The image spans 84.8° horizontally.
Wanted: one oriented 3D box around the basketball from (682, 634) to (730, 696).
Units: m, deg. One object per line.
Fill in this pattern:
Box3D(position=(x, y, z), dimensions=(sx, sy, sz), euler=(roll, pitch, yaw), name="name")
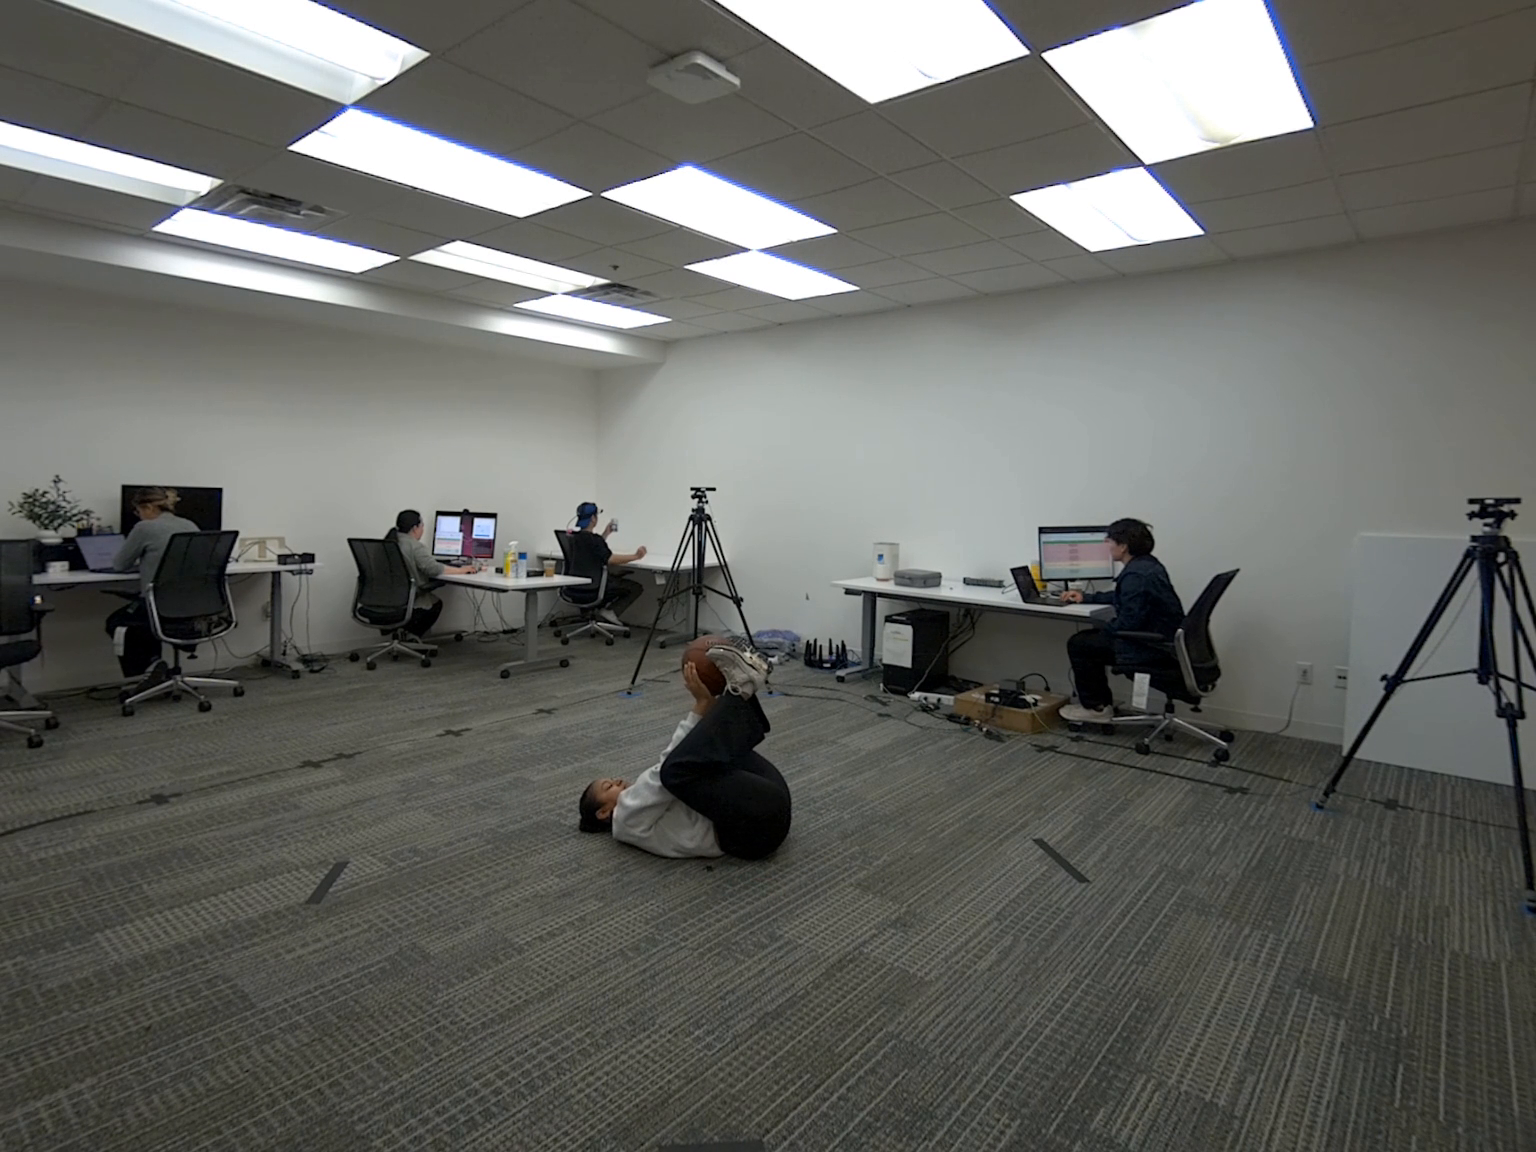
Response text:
Box3D(position=(-0.231, 0.350, 3.345), dimensions=(0.236, 0.234, 0.238), euler=(-2, 8, -2), name="basketball")
